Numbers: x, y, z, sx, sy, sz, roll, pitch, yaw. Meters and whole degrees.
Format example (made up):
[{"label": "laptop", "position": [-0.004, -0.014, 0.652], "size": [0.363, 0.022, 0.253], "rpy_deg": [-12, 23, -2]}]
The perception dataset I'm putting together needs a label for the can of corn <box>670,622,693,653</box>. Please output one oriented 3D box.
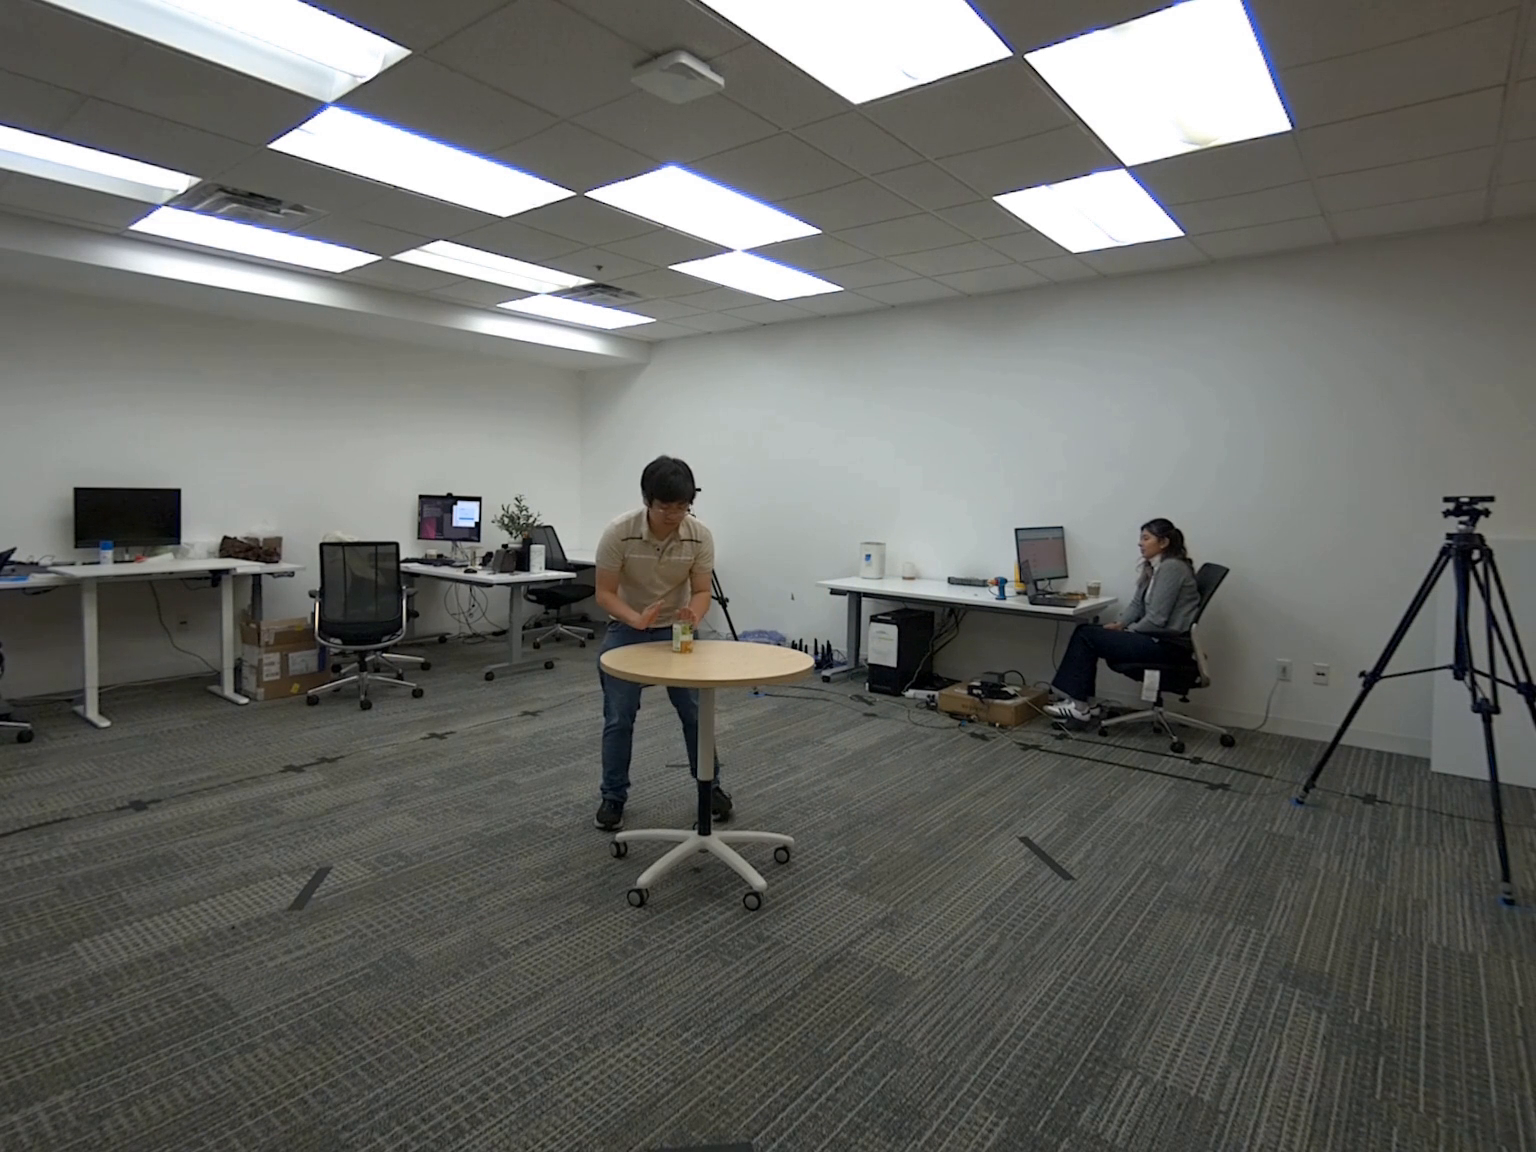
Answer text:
[{"label": "can of corn", "position": [-0.331, 0.221, 3.169], "size": [0.074, 0.111, 0.074], "rpy_deg": [-1, 1, -2]}]
